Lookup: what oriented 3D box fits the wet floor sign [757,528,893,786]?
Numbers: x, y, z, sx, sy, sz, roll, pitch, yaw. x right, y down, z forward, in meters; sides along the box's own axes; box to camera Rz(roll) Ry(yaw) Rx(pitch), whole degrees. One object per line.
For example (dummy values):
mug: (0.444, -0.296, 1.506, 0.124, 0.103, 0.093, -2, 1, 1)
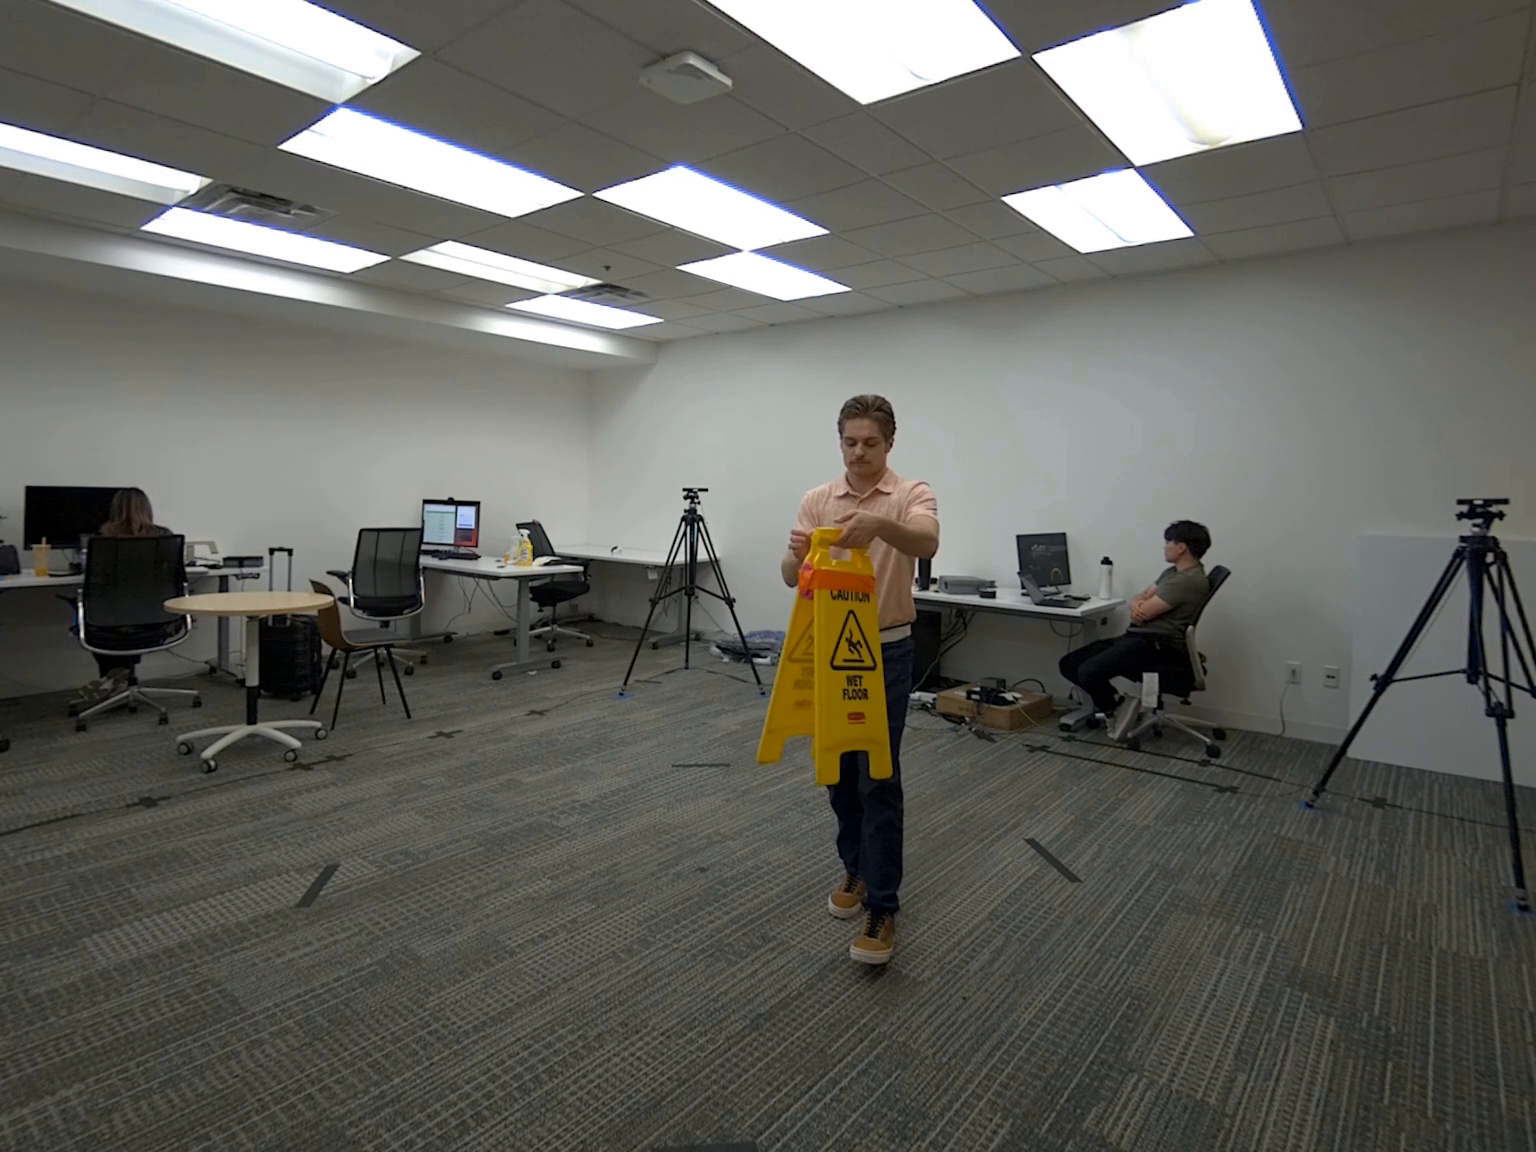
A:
wet floor sign: (0.172, 0.197, 2.301, 0.273, 0.648, 0.299, 6, -4, -39)
